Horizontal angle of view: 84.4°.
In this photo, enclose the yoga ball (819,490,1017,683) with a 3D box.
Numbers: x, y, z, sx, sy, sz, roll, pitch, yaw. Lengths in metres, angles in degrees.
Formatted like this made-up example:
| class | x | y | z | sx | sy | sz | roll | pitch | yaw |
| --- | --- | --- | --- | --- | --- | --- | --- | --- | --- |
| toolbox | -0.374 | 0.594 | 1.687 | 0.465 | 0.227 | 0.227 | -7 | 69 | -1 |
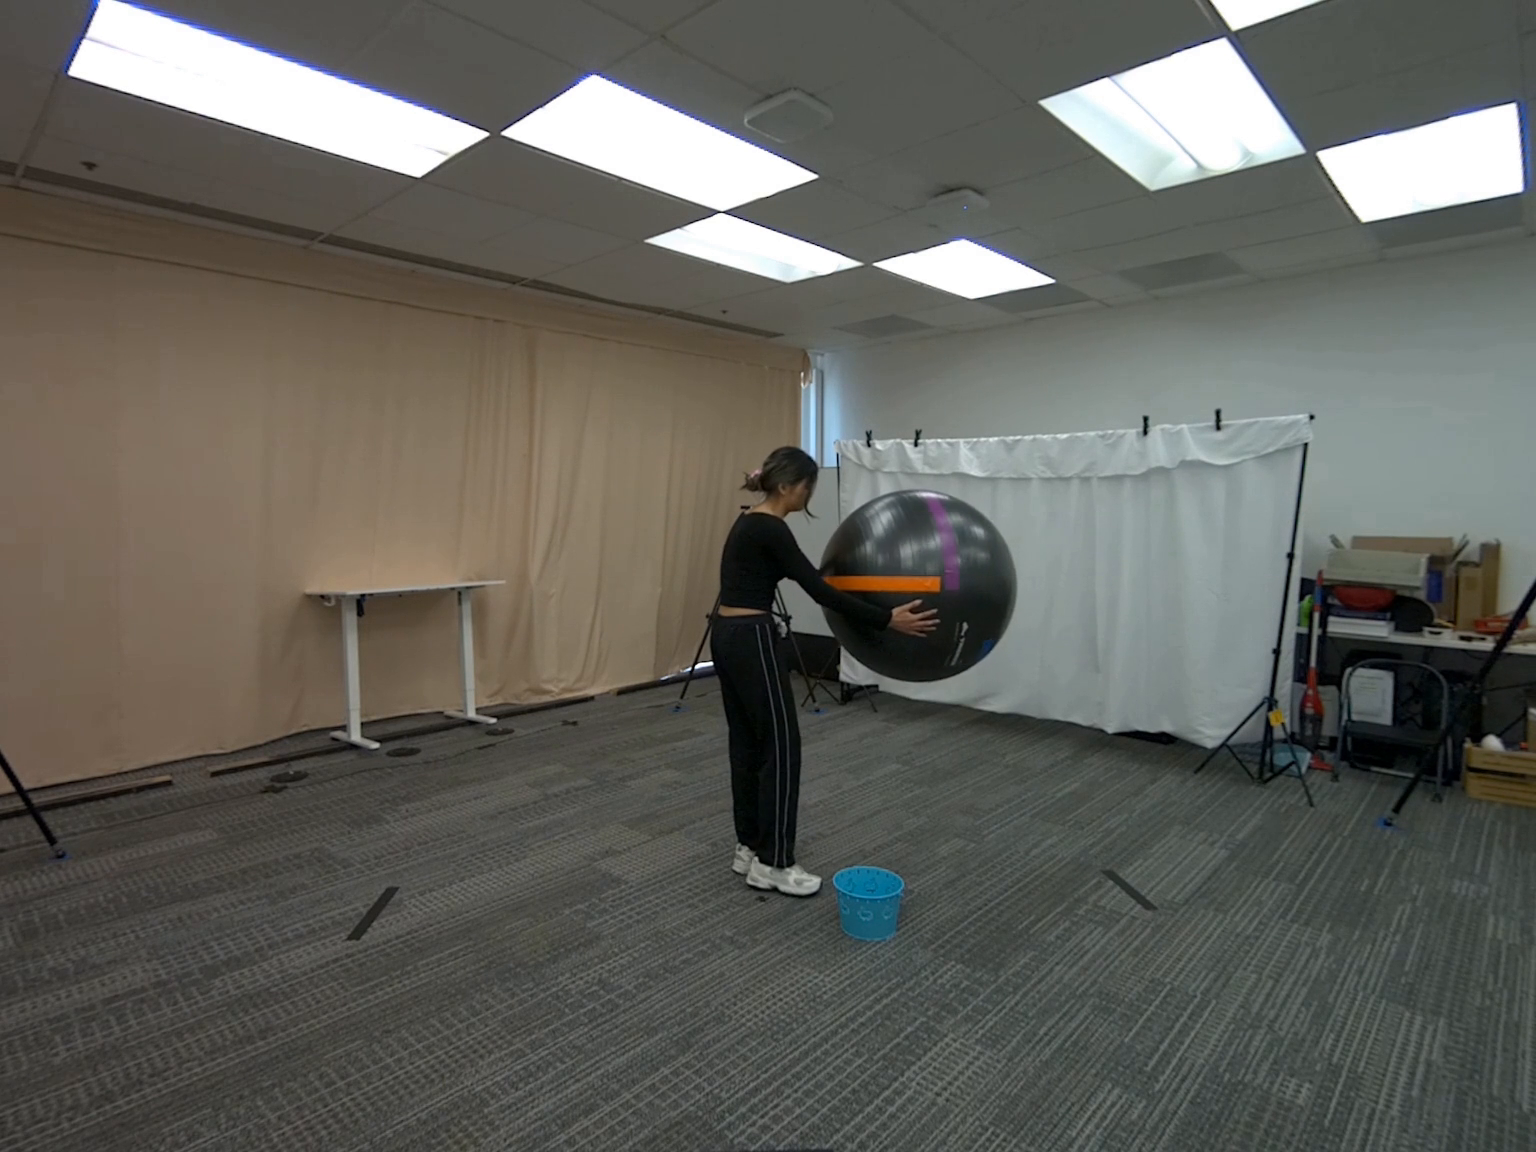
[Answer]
| class | x | y | z | sx | sy | sz | roll | pitch | yaw |
| --- | --- | --- | --- | --- | --- | --- | --- | --- | --- |
| yoga ball | 0.595 | 0.050 | 3.325 | 0.757 | 0.756 | 0.760 | 0 | 4 | -2 |
